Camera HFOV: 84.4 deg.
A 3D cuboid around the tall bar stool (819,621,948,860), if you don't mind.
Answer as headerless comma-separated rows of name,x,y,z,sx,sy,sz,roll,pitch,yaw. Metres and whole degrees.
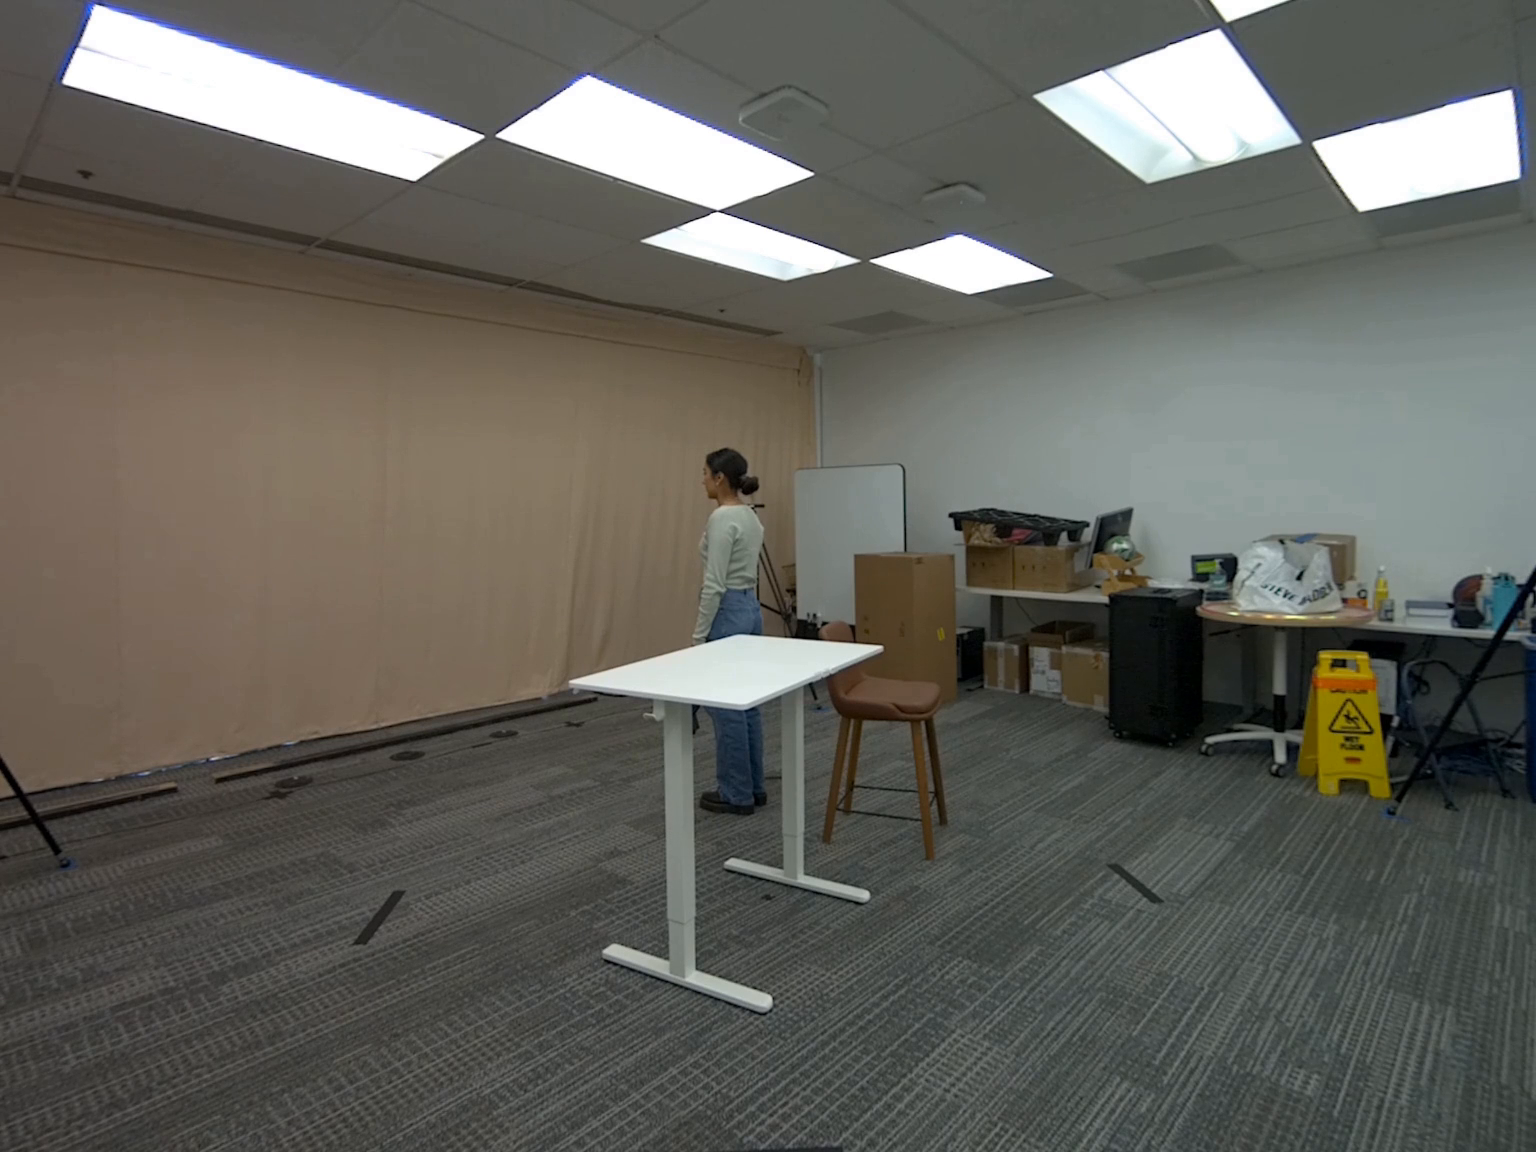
tall bar stool,0.488,0.650,3.519,0.478,0.888,0.447,-2,2,22
